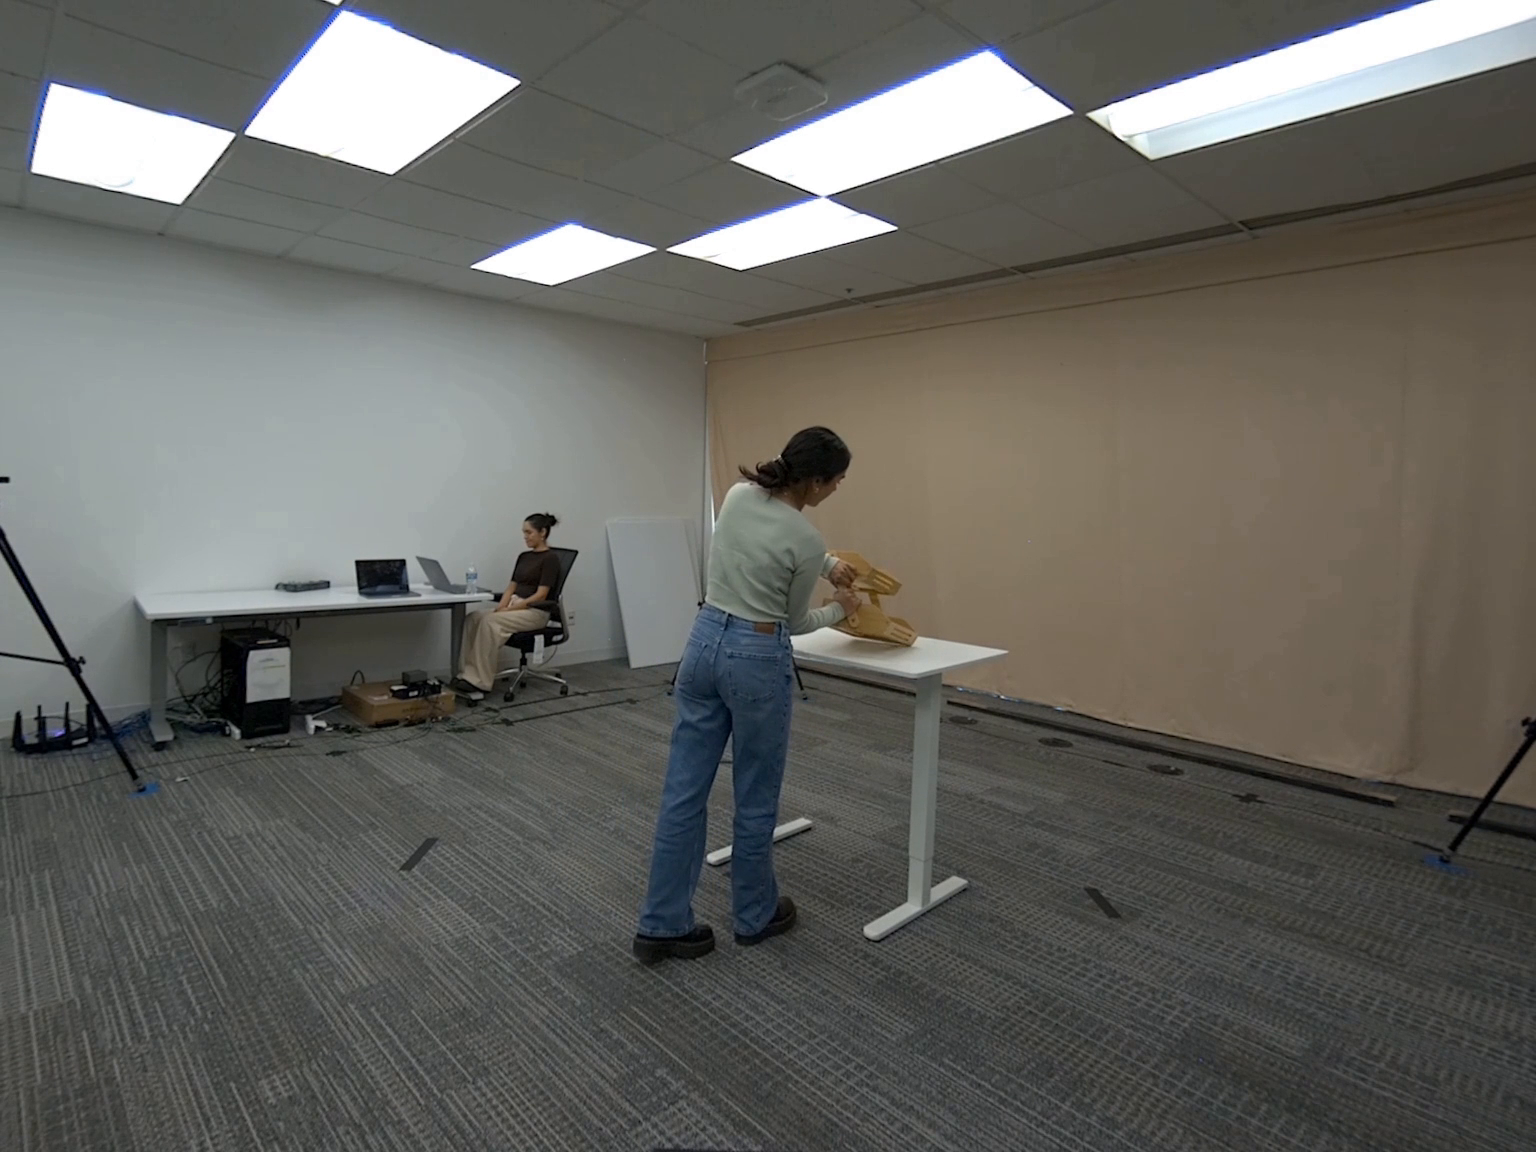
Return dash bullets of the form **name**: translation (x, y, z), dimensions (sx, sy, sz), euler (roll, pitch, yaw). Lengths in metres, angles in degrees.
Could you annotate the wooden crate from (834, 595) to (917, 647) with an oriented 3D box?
- **wooden crate**: translation (0.343, 0.084, 2.940), dimensions (0.309, 0.274, 0.315), euler (9, -8, 30)
